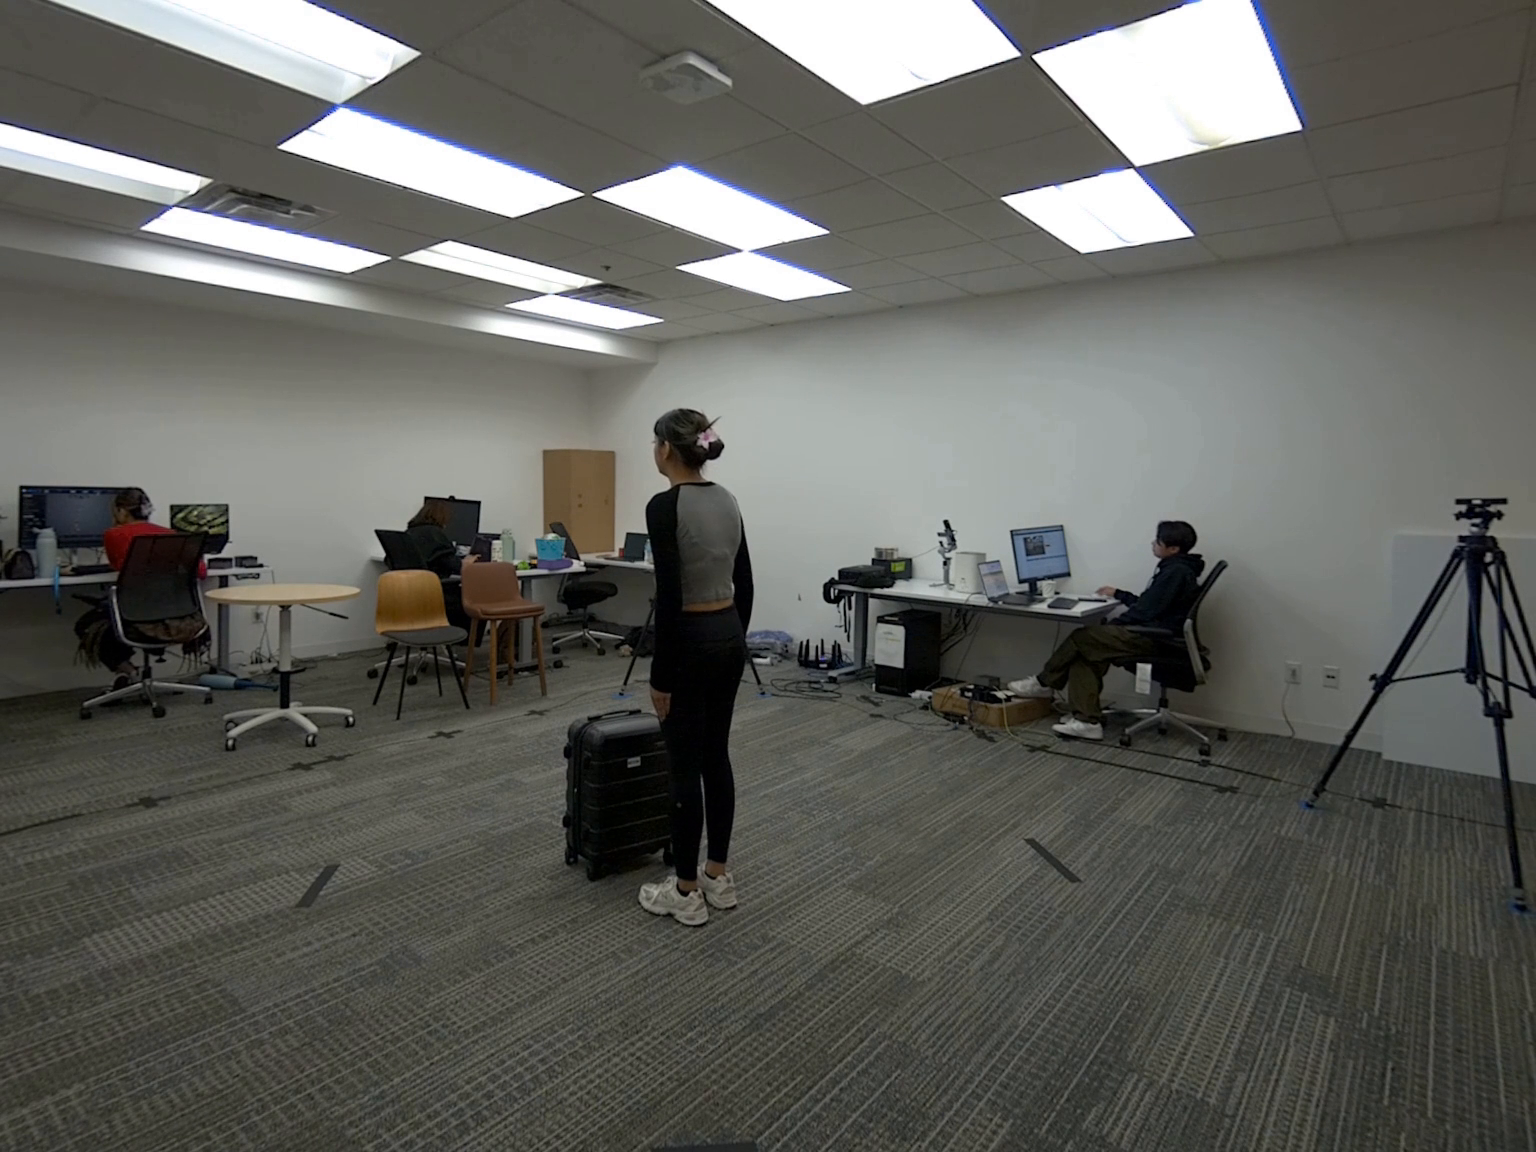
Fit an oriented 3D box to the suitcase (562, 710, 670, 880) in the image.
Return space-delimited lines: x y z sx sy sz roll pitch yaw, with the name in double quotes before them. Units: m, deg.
"suitcase" -0.559 0.780 3.151 0.364 0.548 0.256 0 3 -36
